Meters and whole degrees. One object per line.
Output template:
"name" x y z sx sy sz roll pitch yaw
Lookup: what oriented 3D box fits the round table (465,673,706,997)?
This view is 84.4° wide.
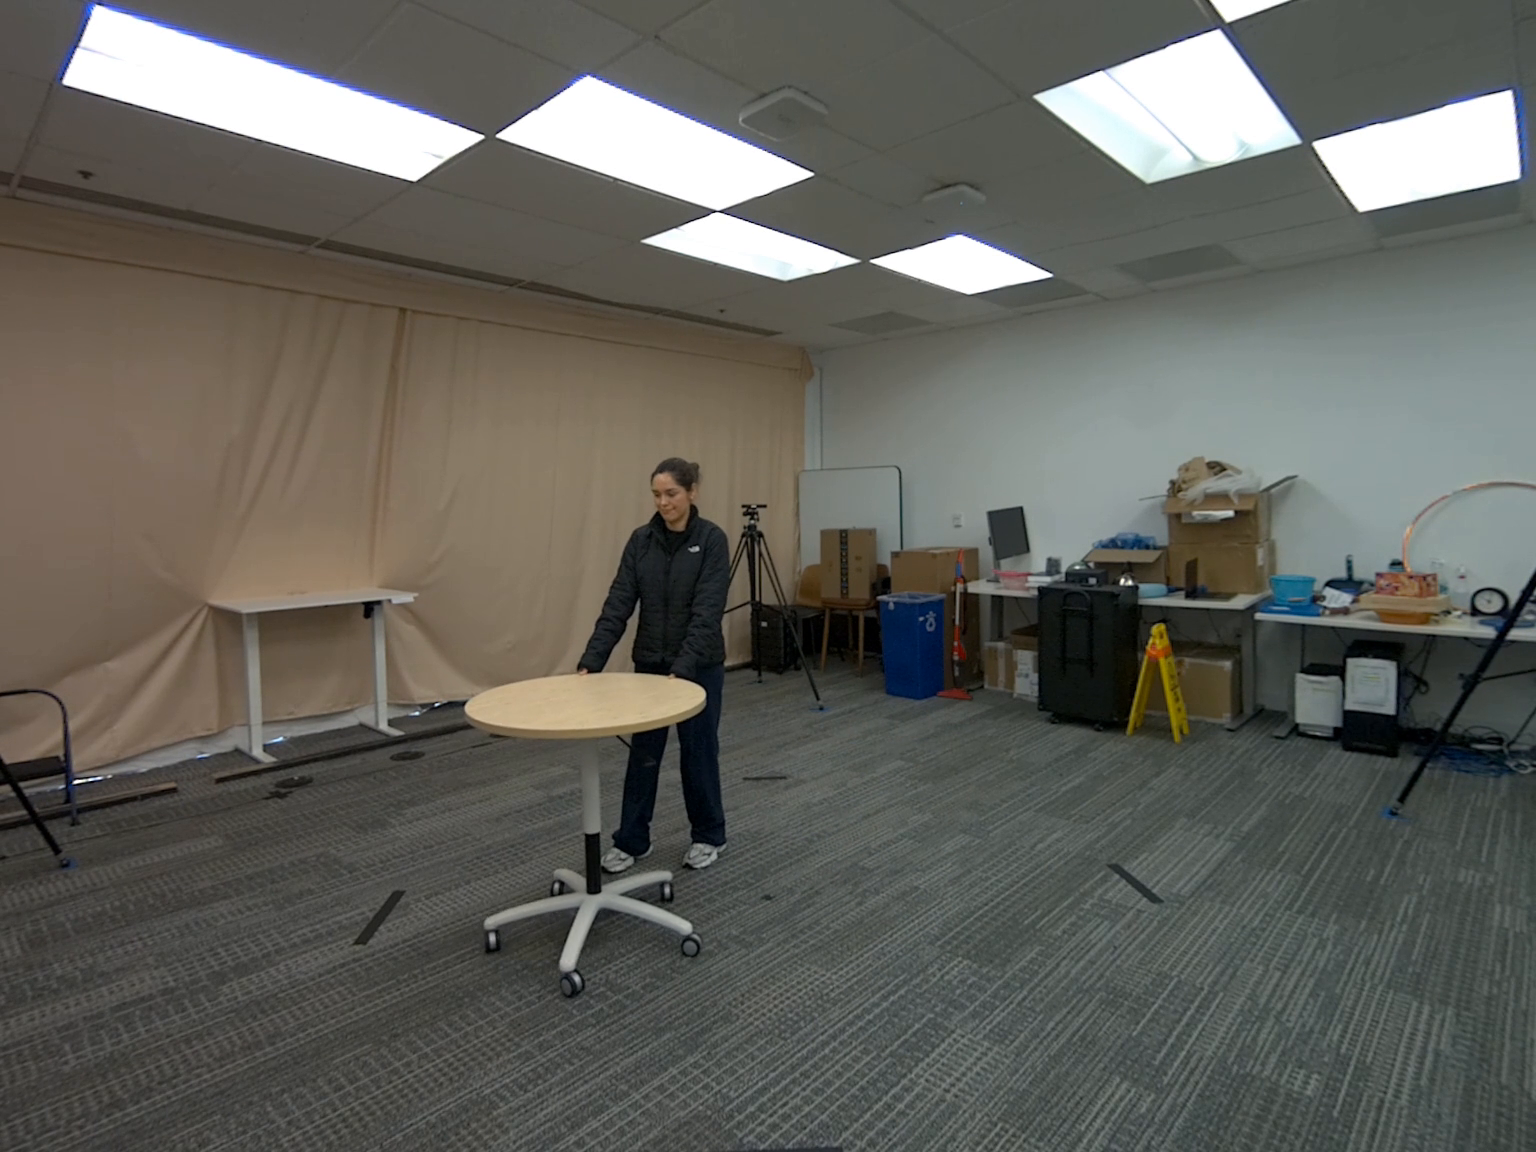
"round table" -0.549 0.776 2.741 0.784 0.785 0.788 -2 4 -2
